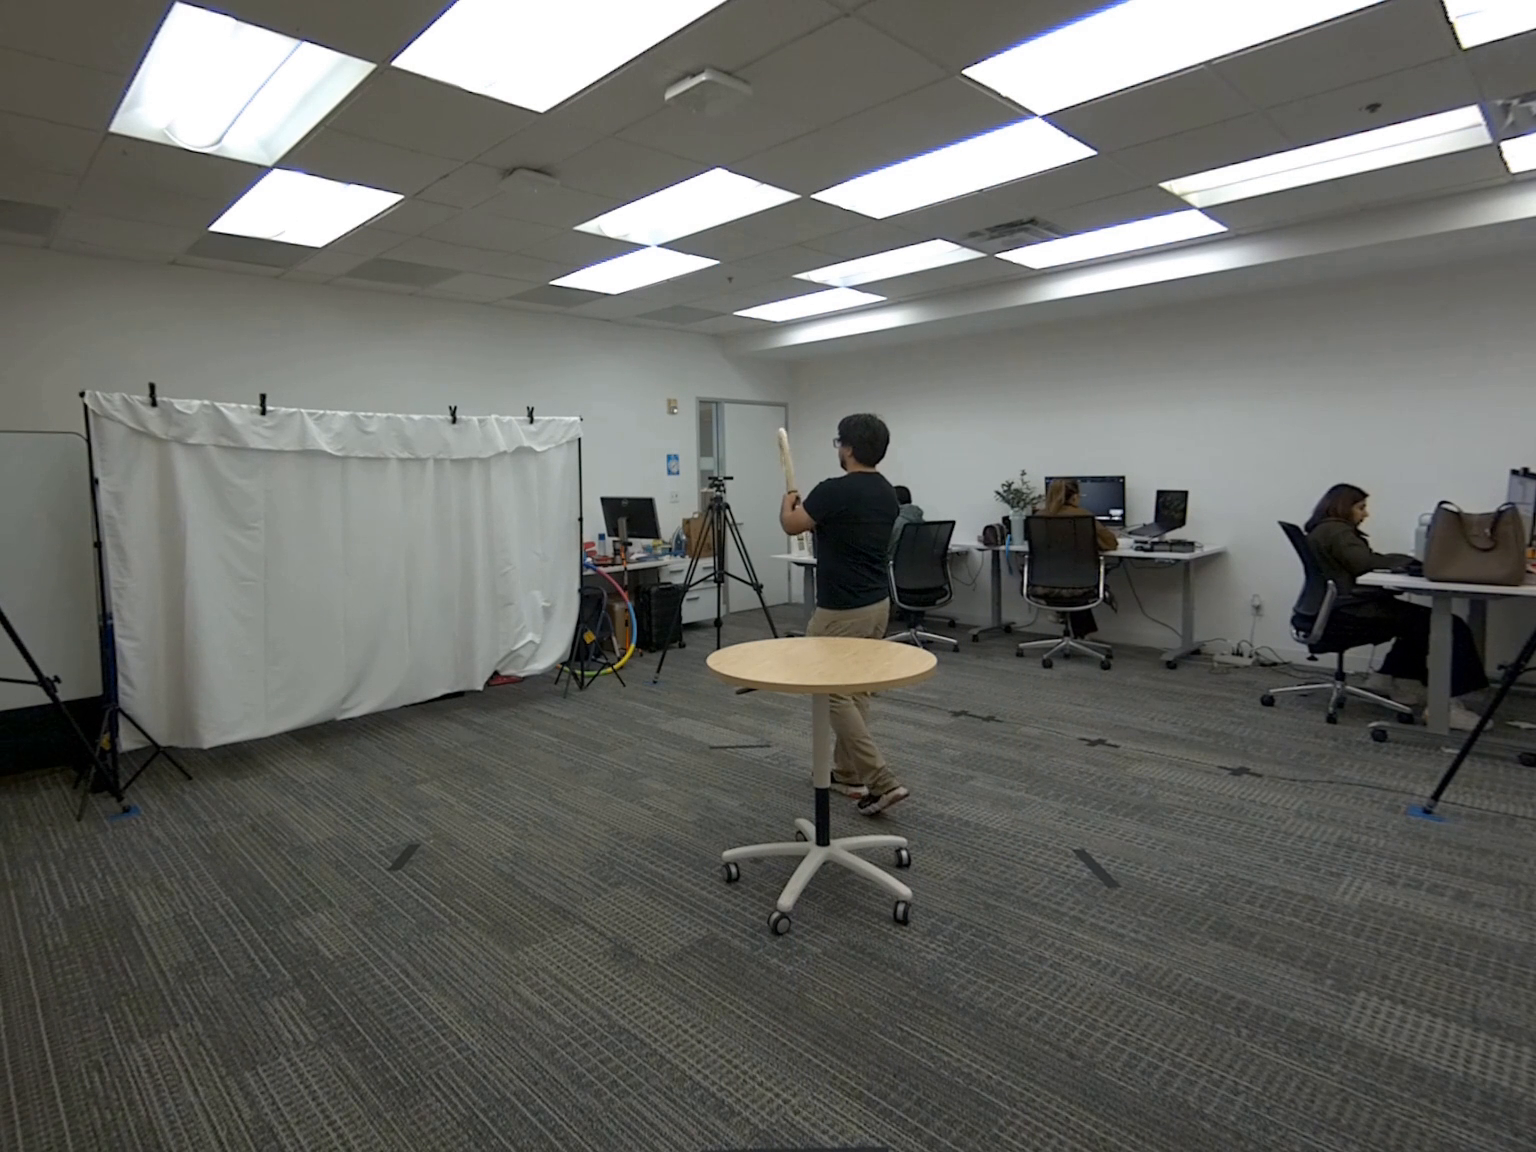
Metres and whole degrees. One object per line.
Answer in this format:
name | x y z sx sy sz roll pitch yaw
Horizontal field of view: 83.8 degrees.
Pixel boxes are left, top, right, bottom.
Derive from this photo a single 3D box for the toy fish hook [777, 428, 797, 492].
toy fish hook | 0.109 -0.447 4.025 0.048 0.510 0.223 -9 -6 -1
